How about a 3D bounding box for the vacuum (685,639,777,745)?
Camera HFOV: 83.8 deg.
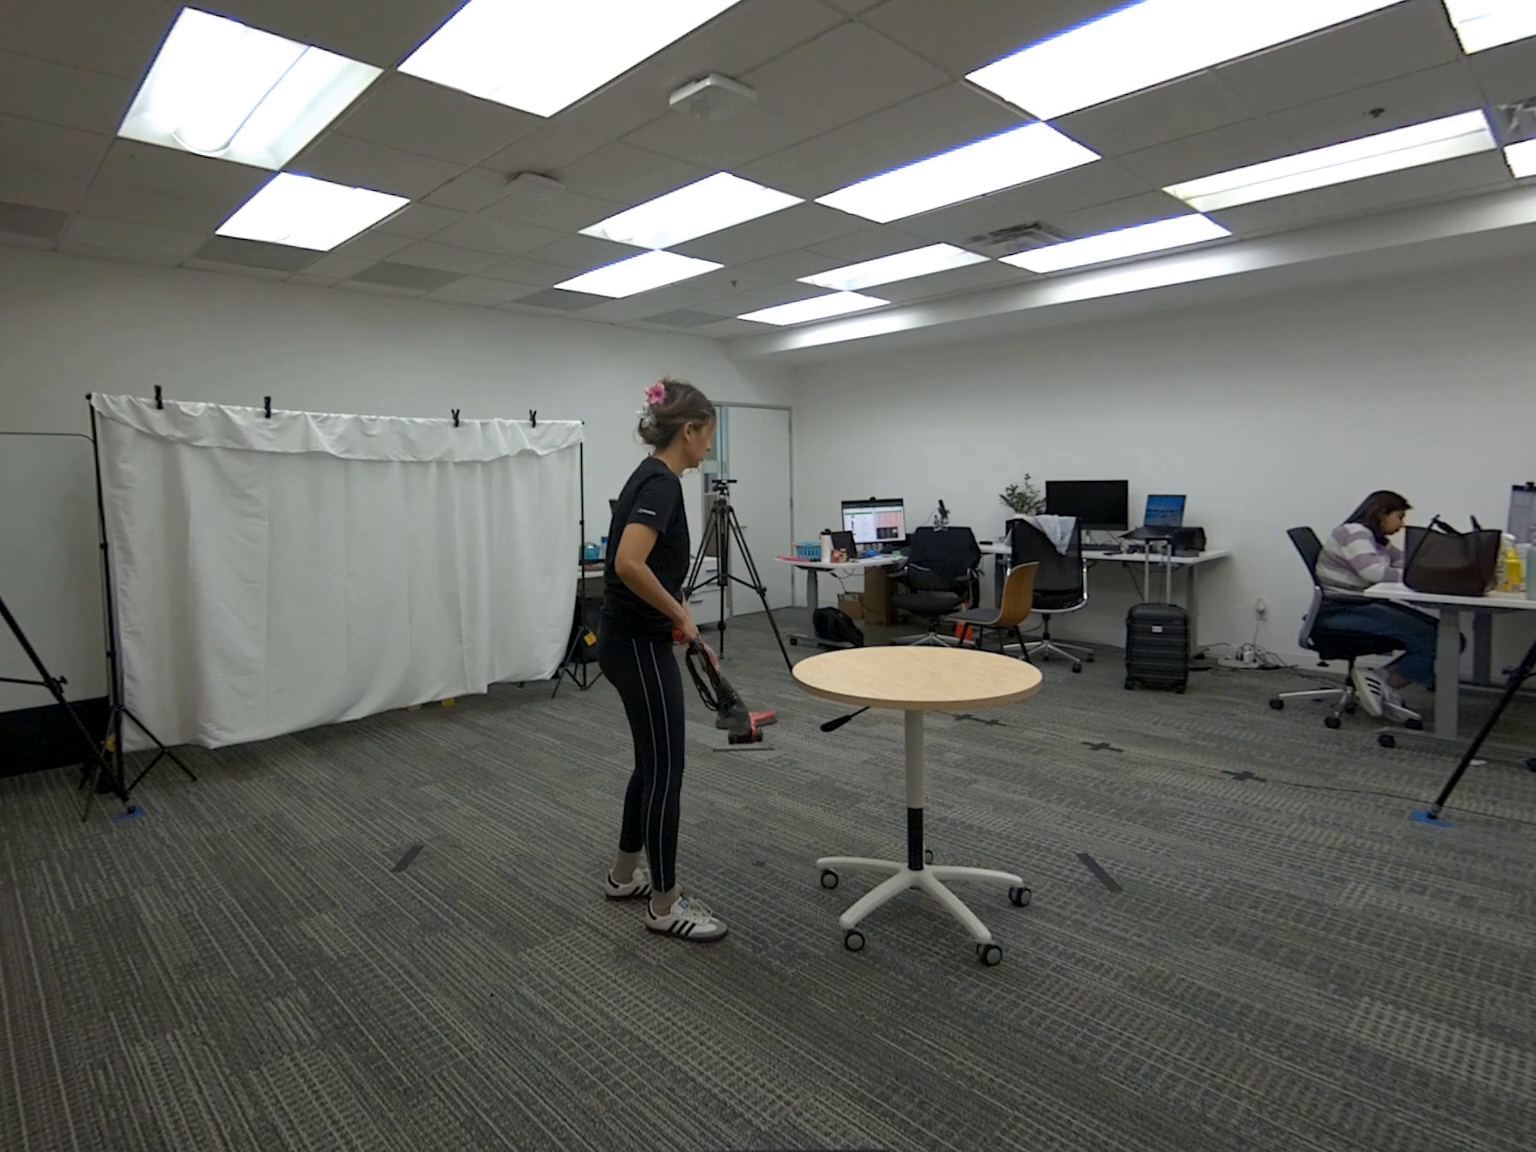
[{"bbox_3d":[-0.172,0.389,2.971,0.254,0.147,1.016,-6,-29,8],"label":"vacuum"}]
